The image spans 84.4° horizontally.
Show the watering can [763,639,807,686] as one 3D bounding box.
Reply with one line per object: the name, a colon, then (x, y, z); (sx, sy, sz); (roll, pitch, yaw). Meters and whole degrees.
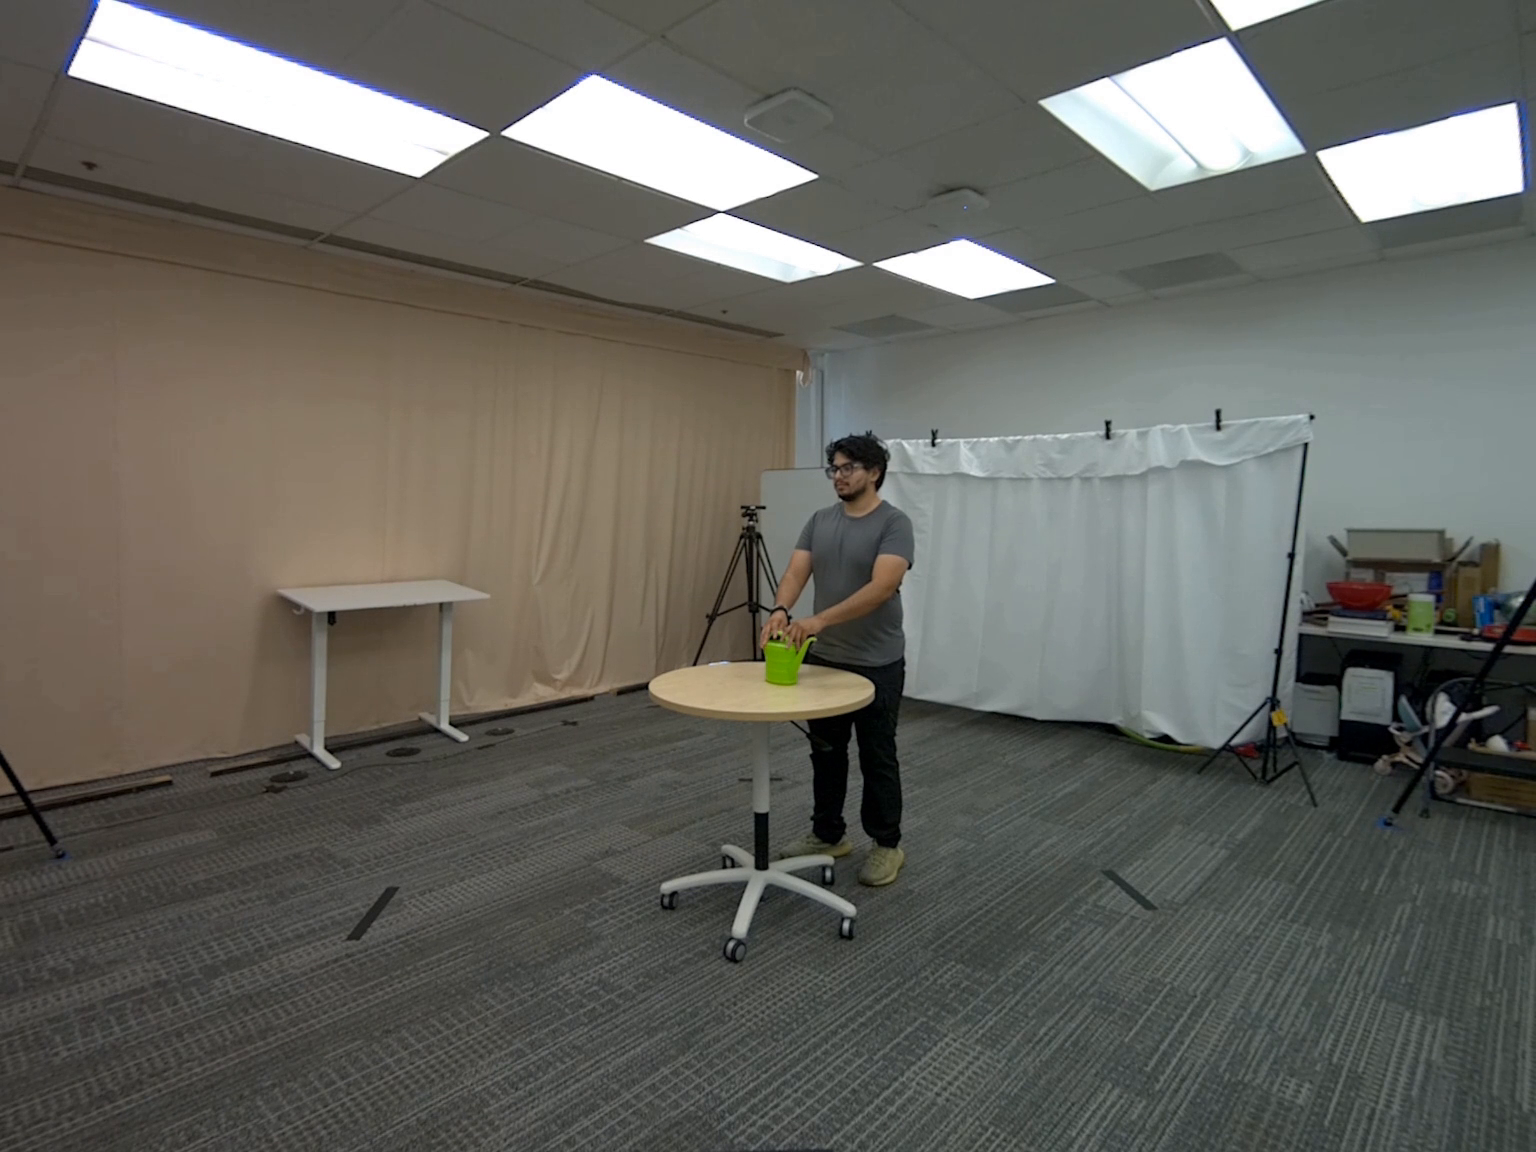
watering can: (0.065, 0.284, 2.866); (0.096, 0.177, 0.284); (-1, 2, -22)
